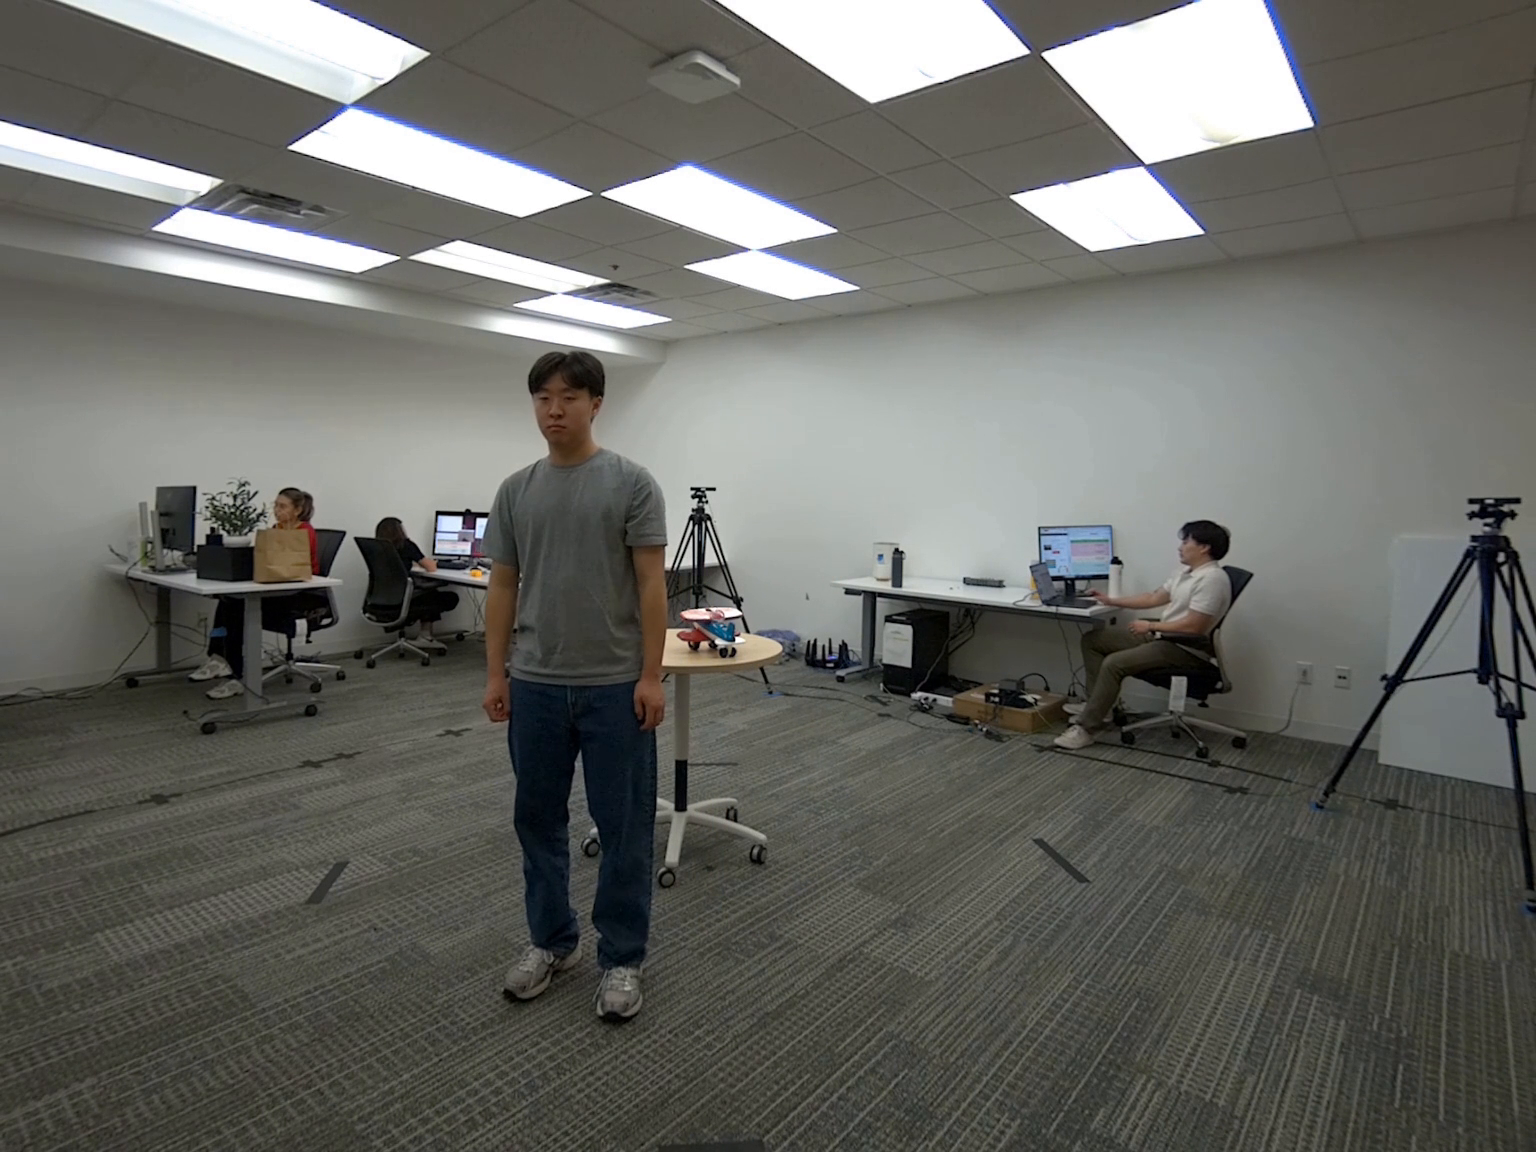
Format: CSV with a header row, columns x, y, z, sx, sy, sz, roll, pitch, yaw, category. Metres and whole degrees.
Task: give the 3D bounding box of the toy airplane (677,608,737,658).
x,y,z,sx,sy,sz,roll,pitch,yaw,category
-0.196,0.203,3.146,0.267,0.156,0.245,3,6,30,toy airplane
